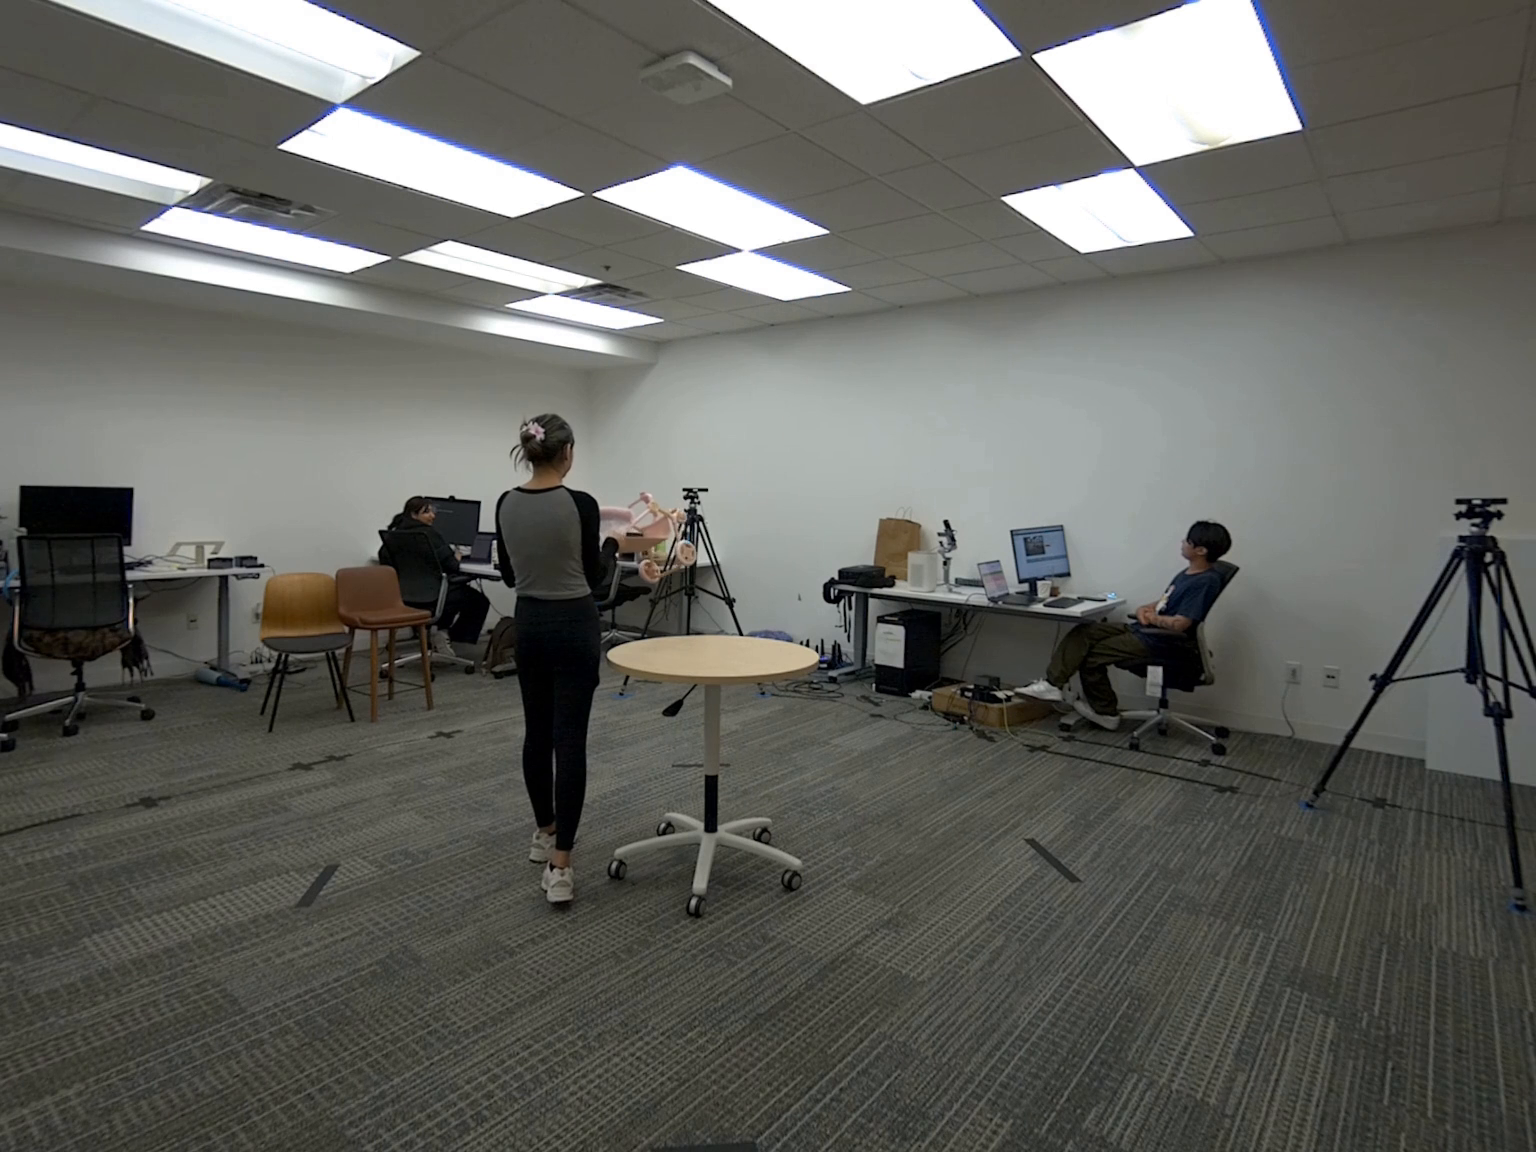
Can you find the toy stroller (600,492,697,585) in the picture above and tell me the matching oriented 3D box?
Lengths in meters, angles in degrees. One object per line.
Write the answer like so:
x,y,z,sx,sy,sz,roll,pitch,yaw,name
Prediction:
-0.555,-0.186,3.569,0.515,0.347,0.287,13,-23,-40,toy stroller
